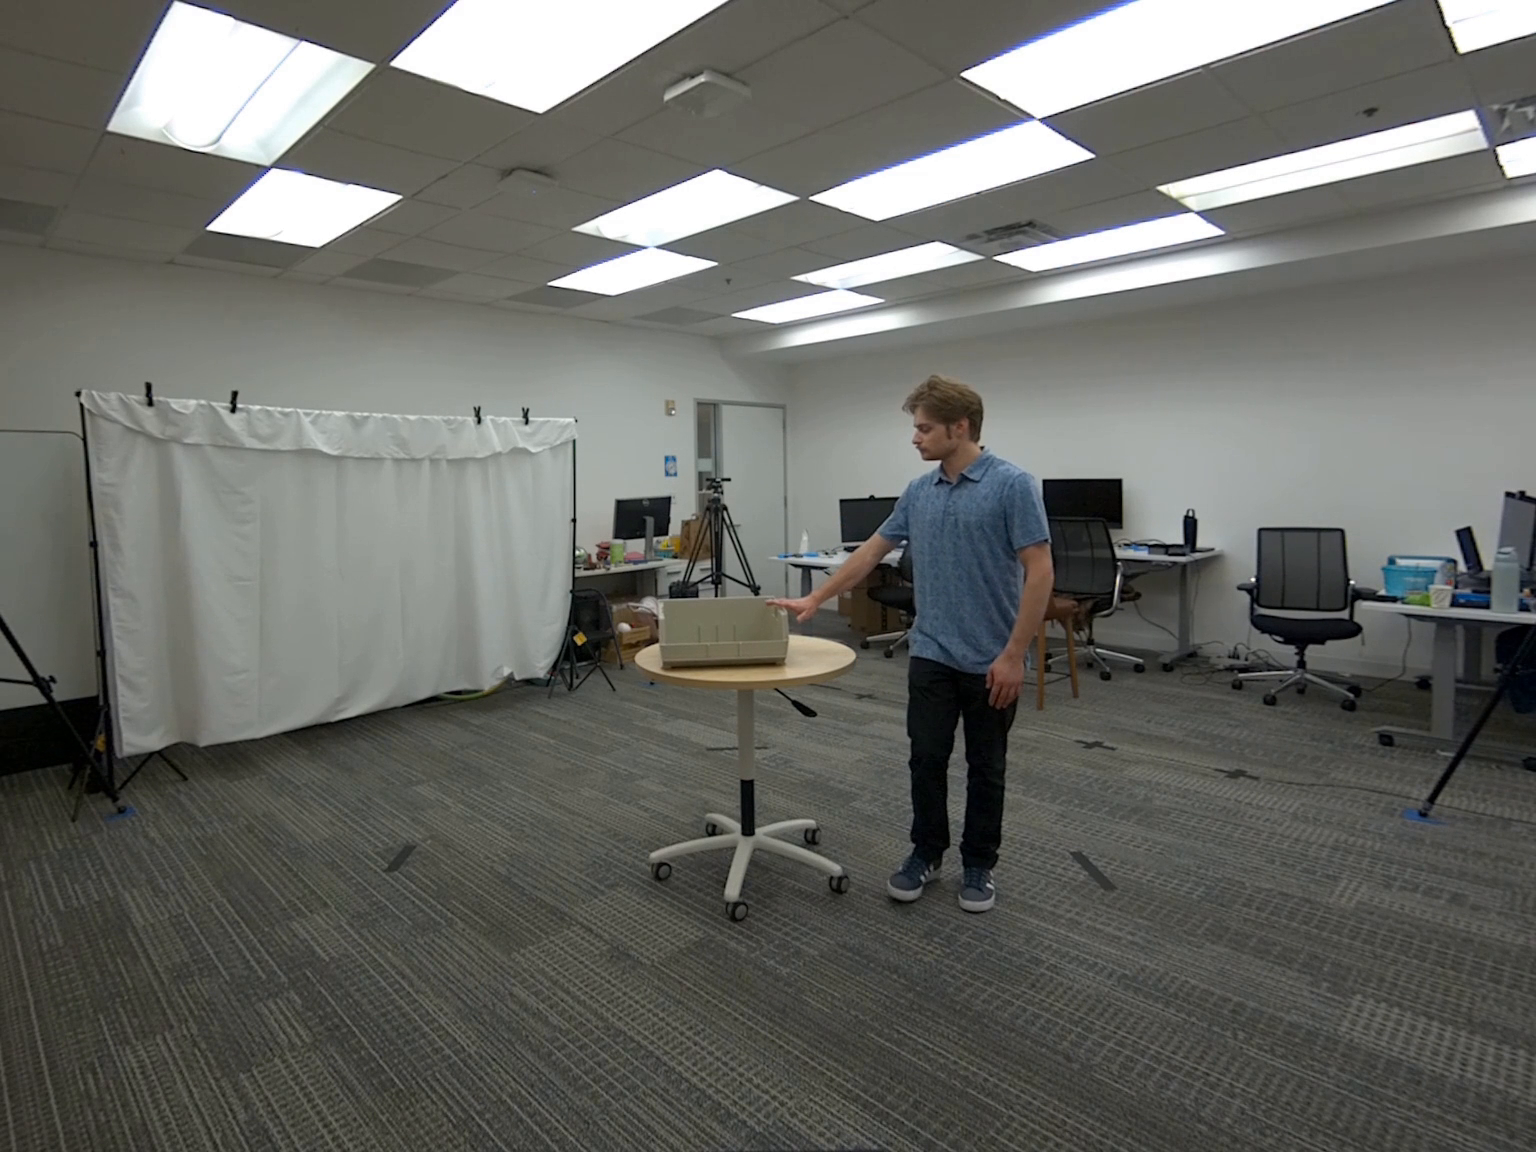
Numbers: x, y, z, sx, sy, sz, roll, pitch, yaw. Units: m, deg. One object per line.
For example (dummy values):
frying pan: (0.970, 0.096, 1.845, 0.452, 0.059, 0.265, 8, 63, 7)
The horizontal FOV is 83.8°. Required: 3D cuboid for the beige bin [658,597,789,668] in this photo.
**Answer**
beige bin: (-0.161, 0.195, 2.912, 0.421, 0.188, 0.381, -2, 7, -4)
